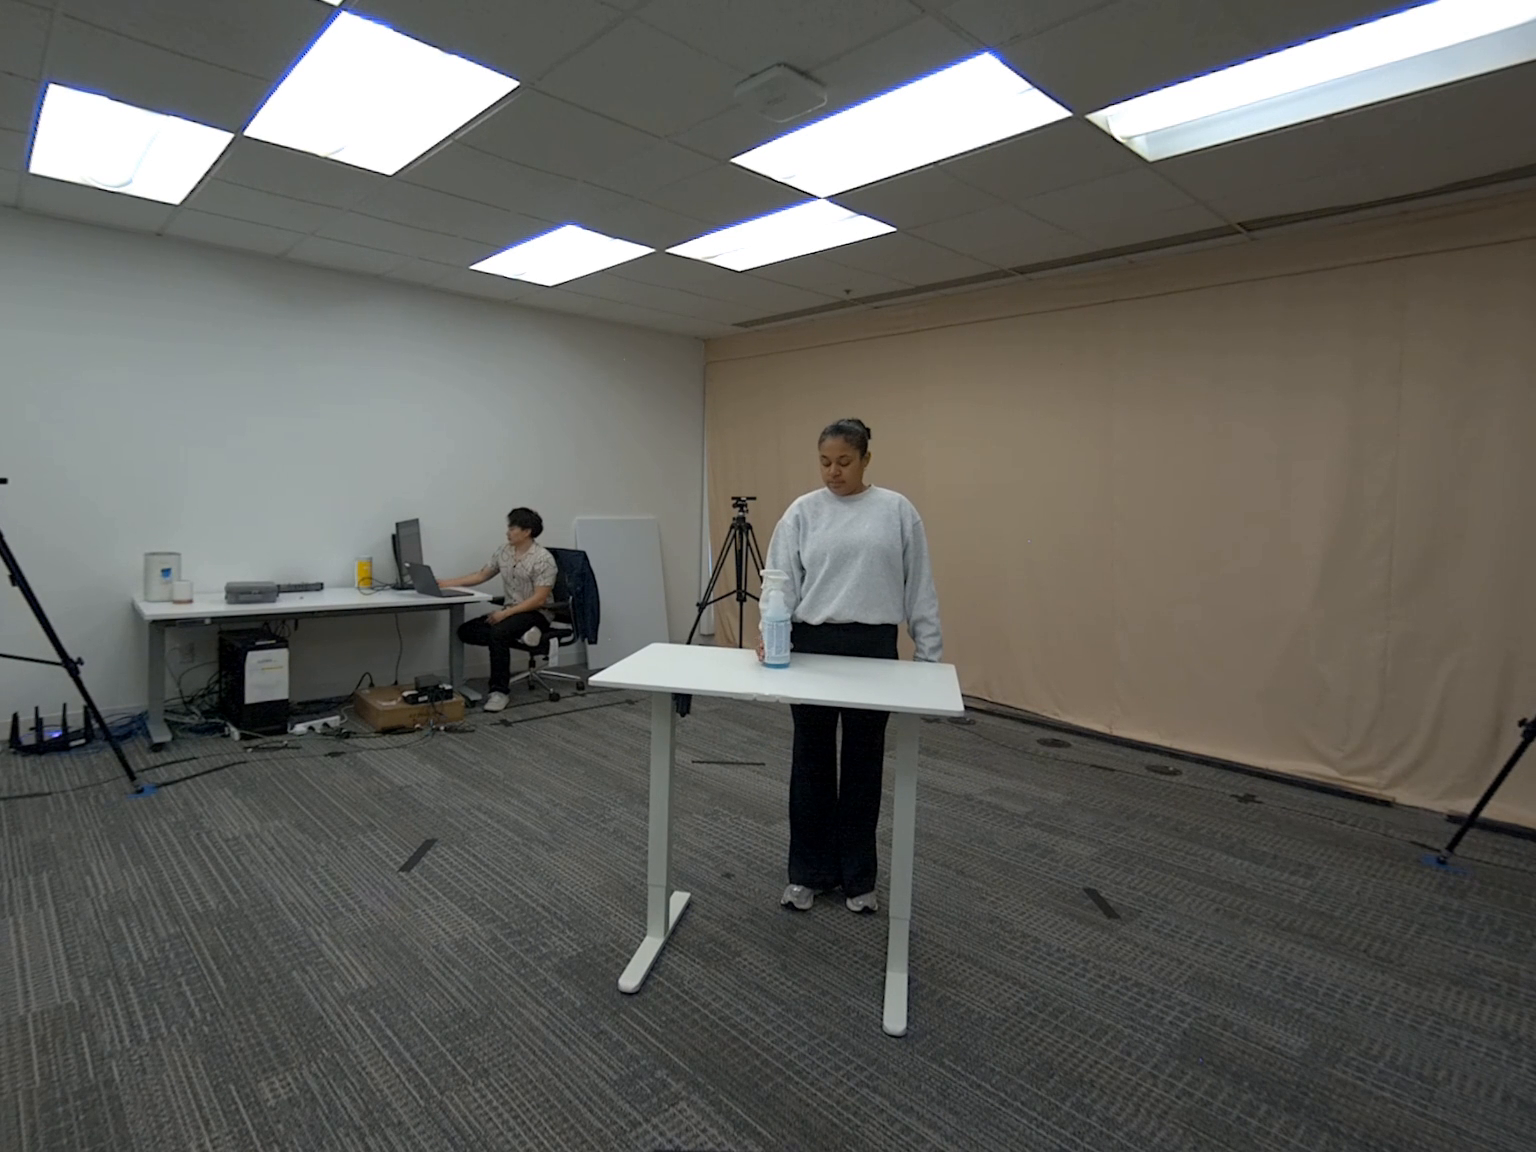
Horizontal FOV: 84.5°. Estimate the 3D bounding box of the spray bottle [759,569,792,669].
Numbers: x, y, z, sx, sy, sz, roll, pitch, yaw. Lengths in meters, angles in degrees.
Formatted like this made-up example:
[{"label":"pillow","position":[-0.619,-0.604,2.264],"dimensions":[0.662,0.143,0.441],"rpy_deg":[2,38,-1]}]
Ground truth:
[{"label":"spray bottle","position":[0.015,0.128,2.558],"dimensions":[0.091,0.296,0.087],"rpy_deg":[-1,5,9]}]
